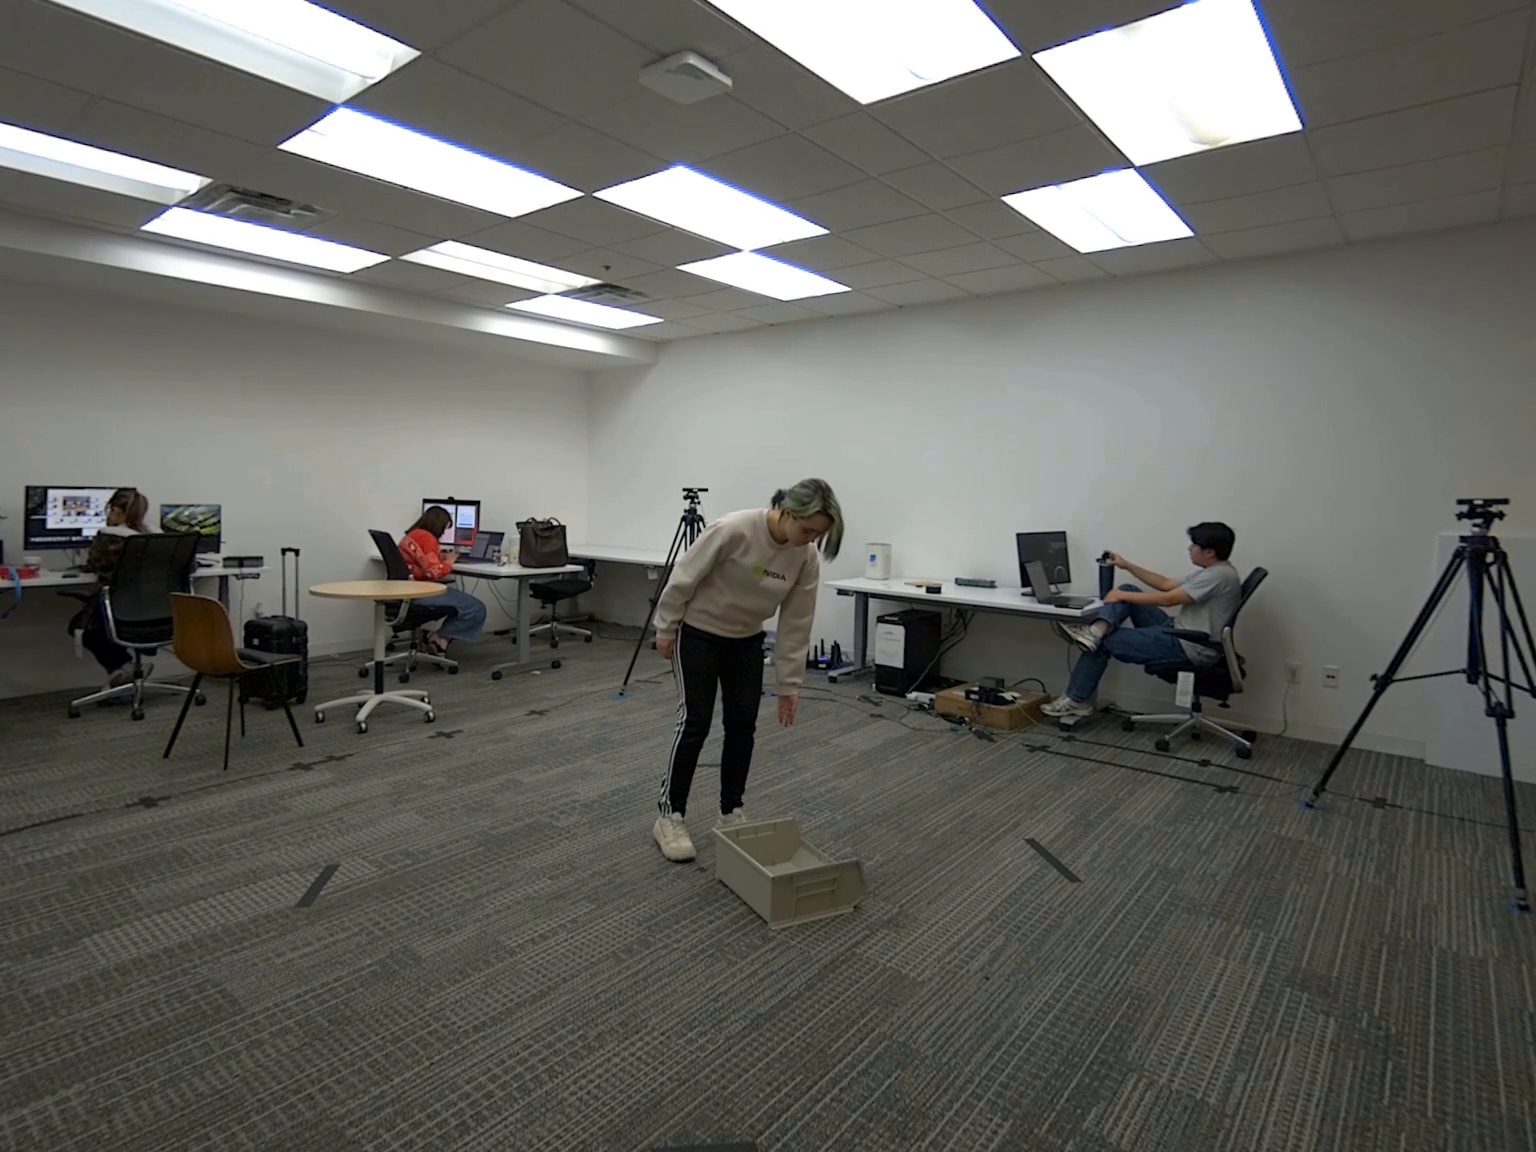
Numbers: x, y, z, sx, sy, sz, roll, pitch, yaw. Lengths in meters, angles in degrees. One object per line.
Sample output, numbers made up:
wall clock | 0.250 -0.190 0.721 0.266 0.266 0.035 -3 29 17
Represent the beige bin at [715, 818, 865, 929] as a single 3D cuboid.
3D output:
beige bin | 0.060 1.001 2.940 0.368 0.188 0.435 -2 7 -29
